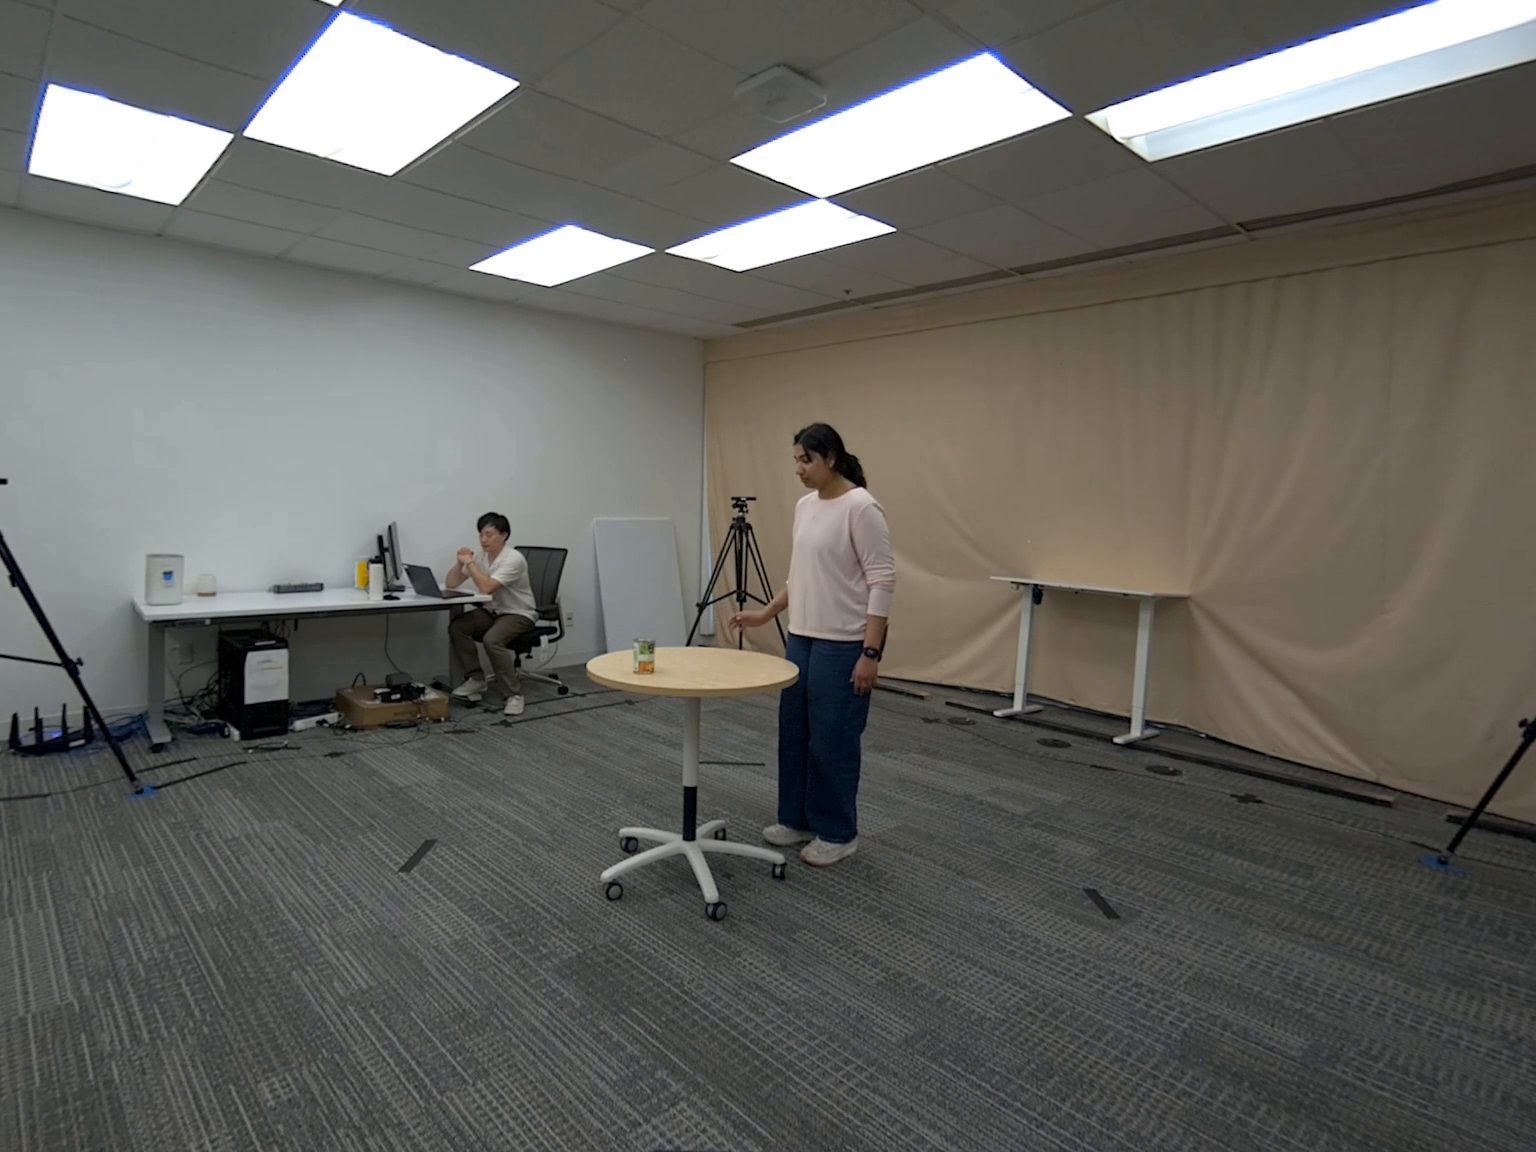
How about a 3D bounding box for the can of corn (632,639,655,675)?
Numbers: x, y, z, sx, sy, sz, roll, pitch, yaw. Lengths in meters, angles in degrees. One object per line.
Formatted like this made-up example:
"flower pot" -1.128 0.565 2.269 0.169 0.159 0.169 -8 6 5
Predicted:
"can of corn" -0.436 0.279 2.893 0.074 0.111 0.074 0 3 -1
